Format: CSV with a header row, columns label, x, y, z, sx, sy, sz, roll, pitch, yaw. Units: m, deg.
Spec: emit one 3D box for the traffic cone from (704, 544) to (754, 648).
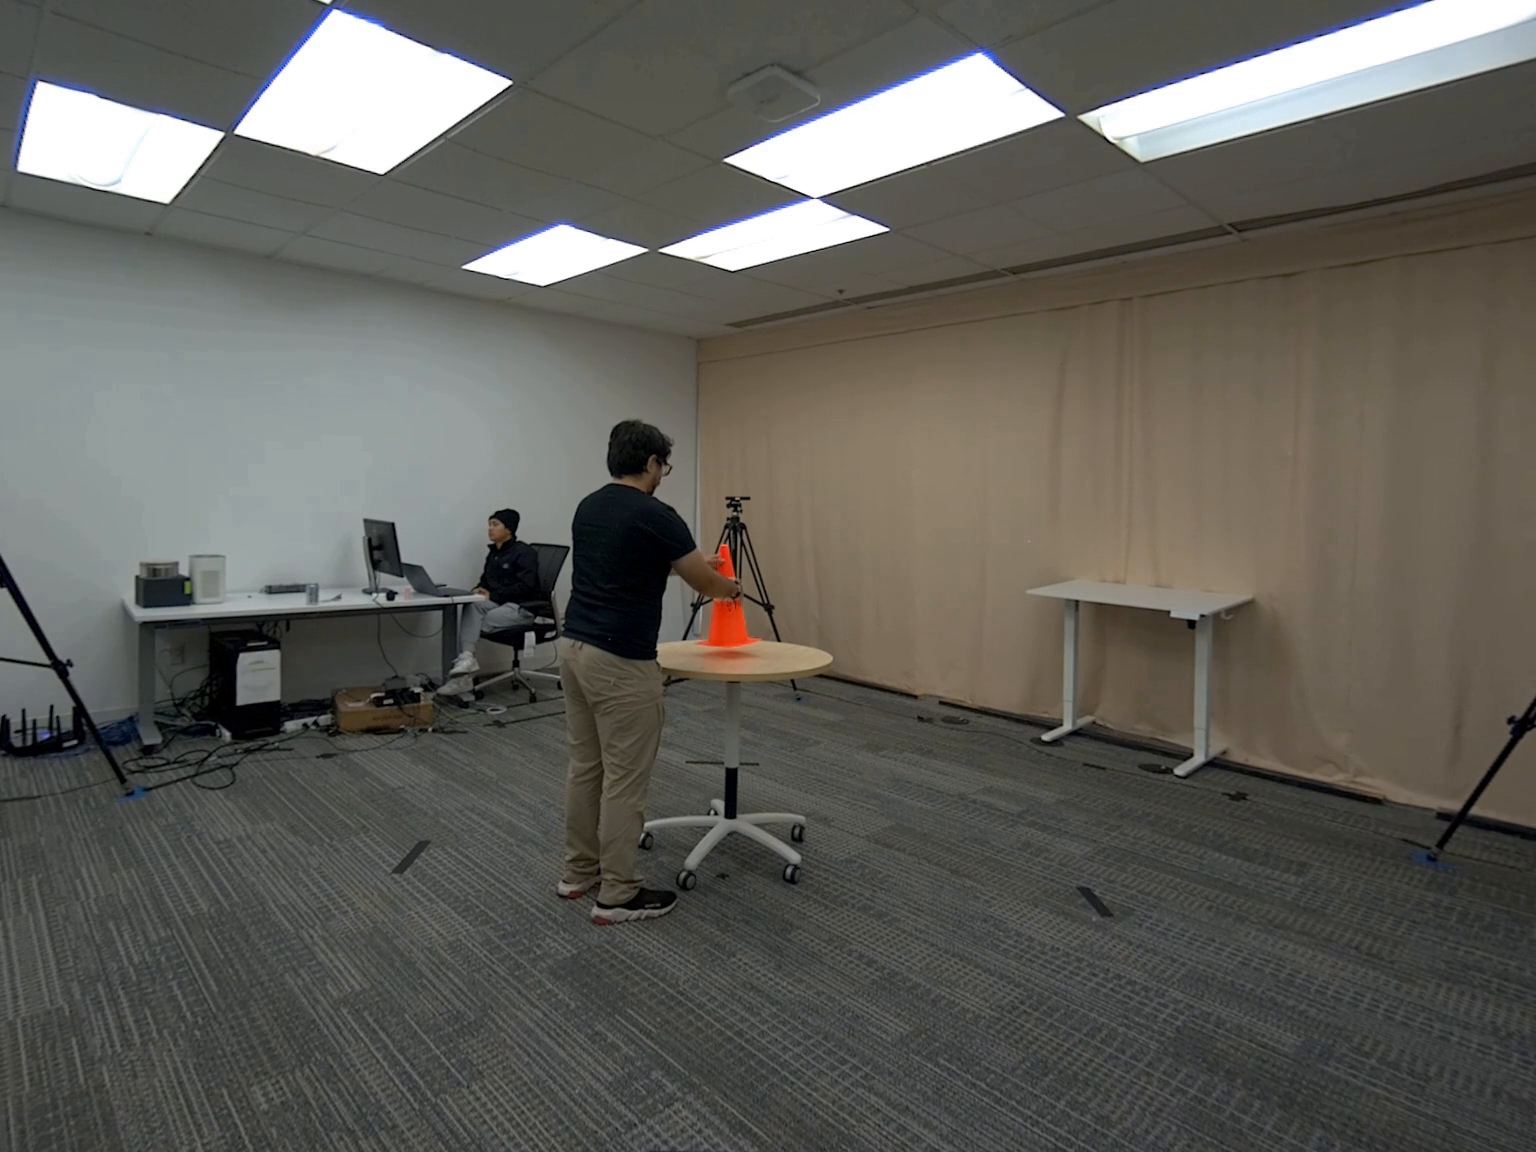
label,x,y,z,sx,sy,sz,roll,pitch,yaw
traffic cone,-0.166,0.069,3.263,0.208,0.382,0.201,4,7,40
